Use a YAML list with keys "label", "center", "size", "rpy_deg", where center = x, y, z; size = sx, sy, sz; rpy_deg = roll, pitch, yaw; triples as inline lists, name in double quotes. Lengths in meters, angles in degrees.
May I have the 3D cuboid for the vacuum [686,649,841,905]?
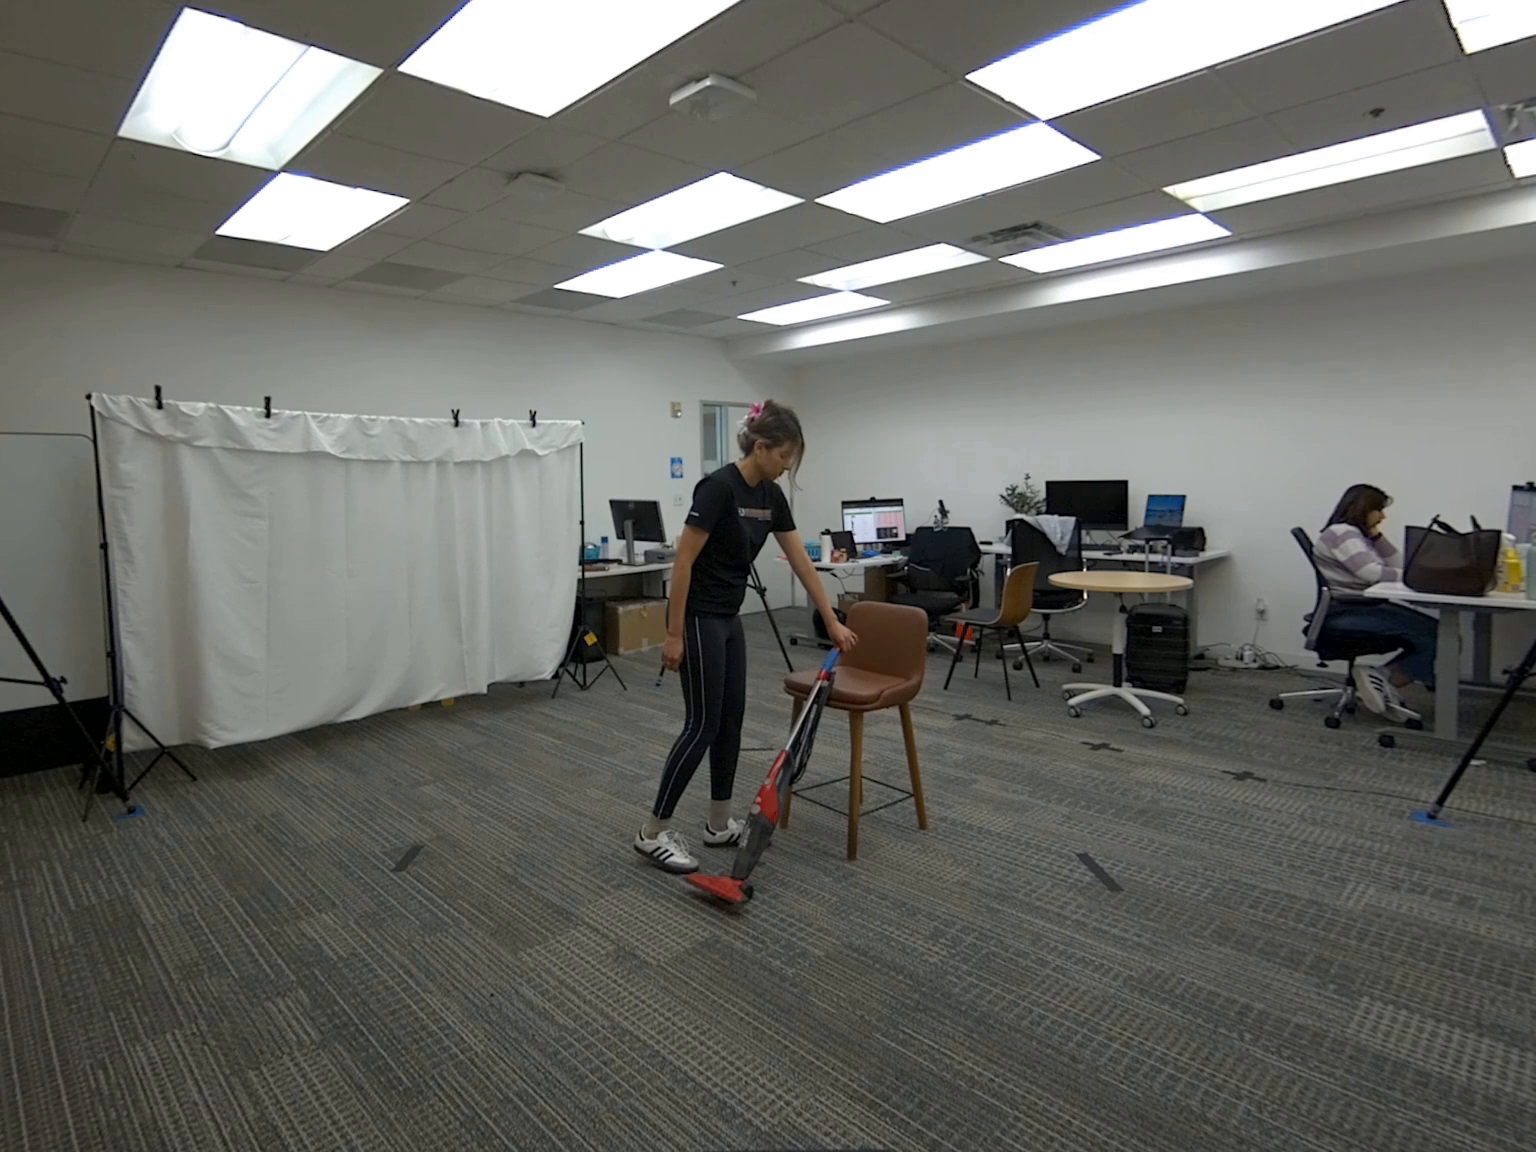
- label: "vacuum"
  center: [0.091, 0.658, 3.072]
  size: [0.260, 1.056, 0.139]
  rpy_deg: [4, -38, 40]
